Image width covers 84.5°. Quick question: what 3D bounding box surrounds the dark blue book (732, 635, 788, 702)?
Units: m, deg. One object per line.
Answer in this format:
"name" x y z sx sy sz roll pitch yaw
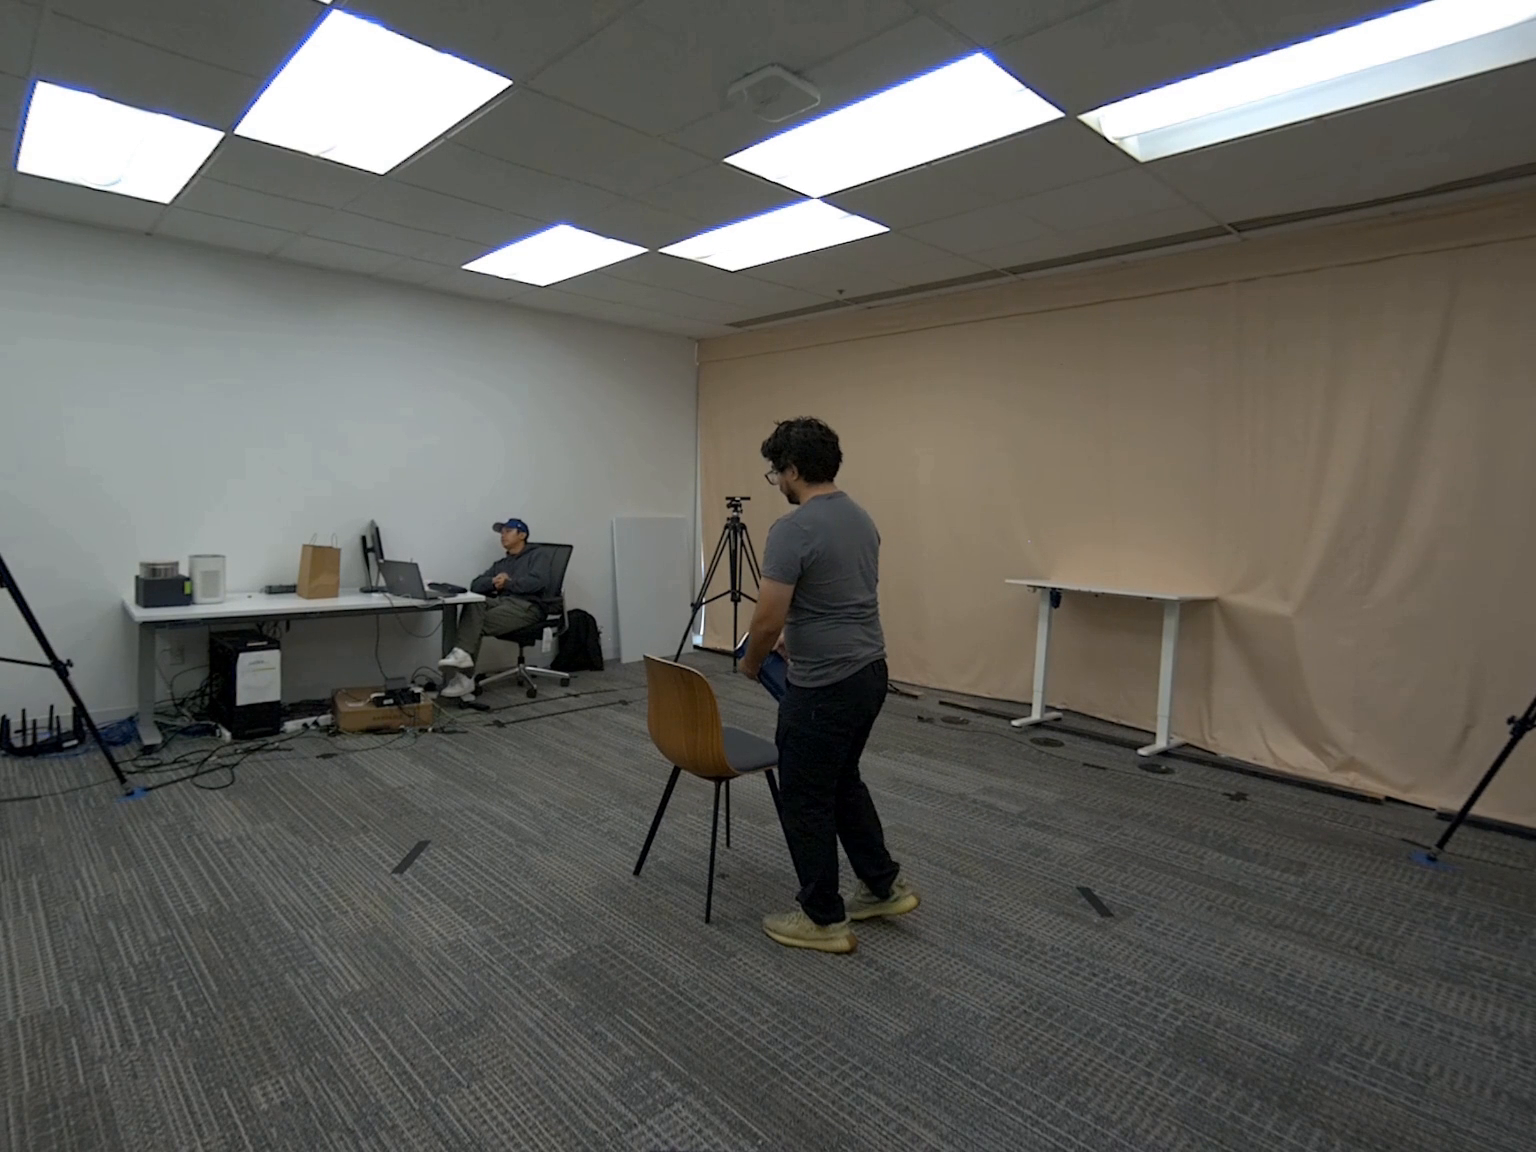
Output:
"dark blue book" -0.009 0.307 2.846 0.045 0.245 0.163 -41 2 27
